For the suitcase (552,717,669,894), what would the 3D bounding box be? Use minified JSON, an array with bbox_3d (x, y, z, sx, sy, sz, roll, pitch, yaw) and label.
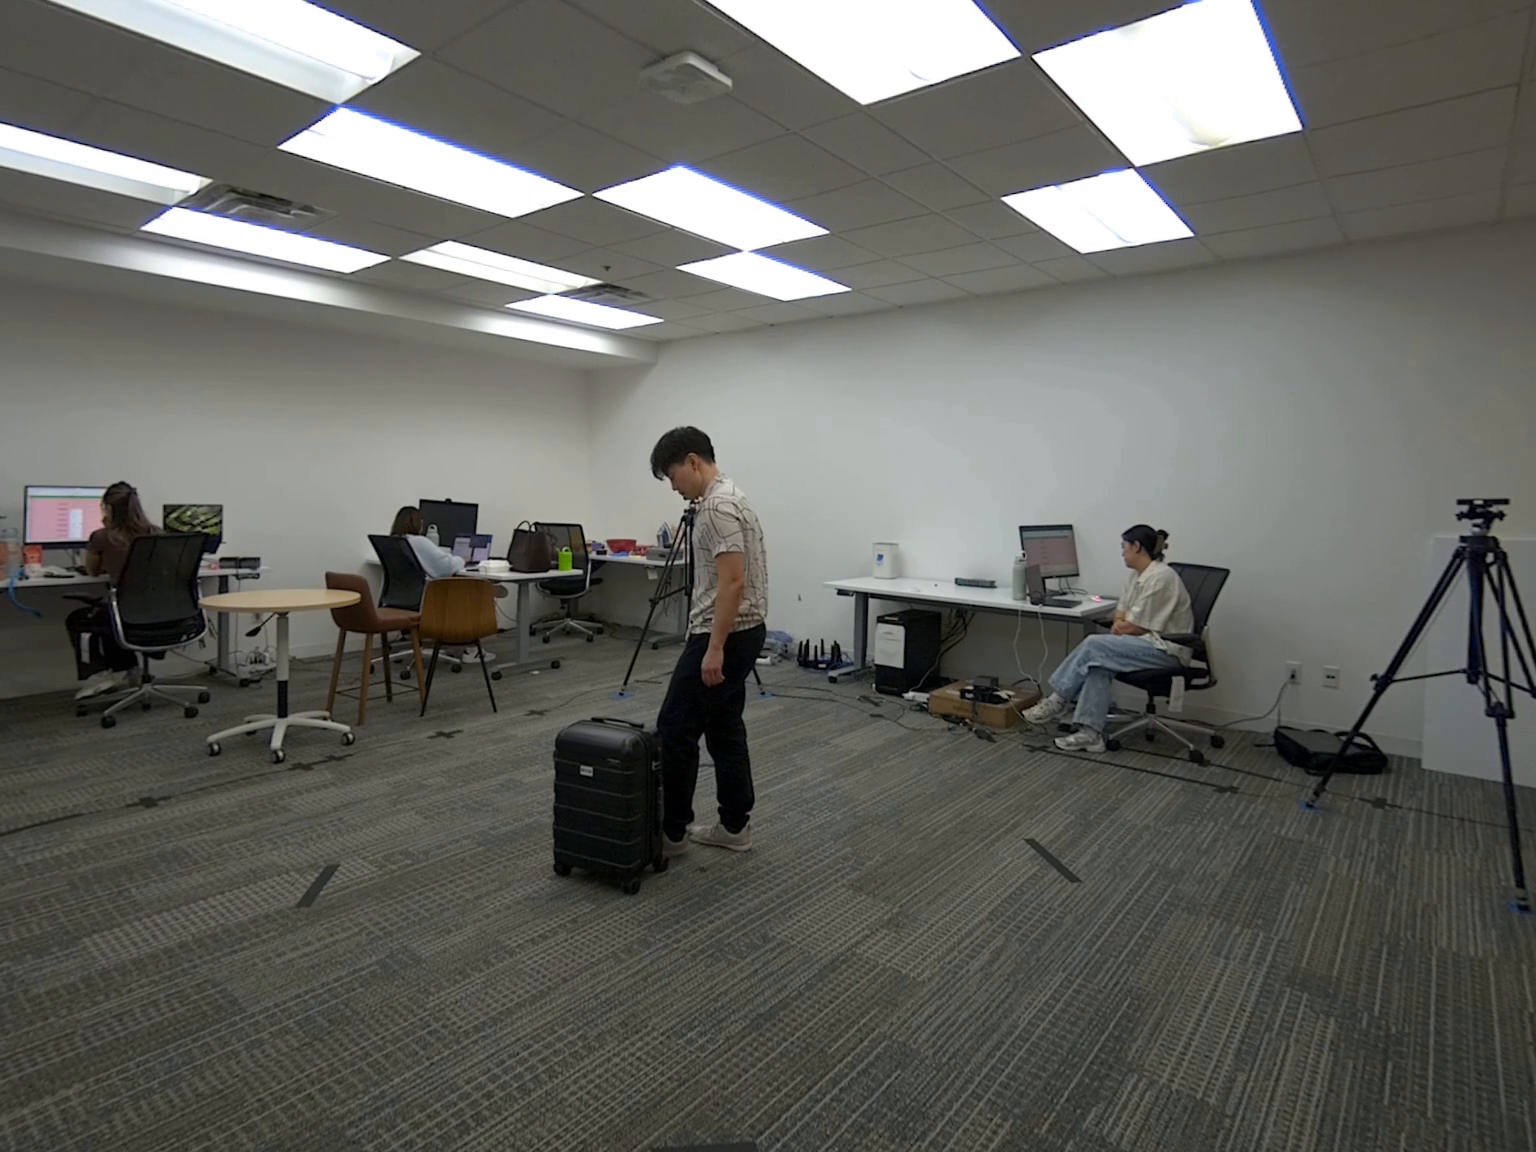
[{"bbox_3d":[-0.577,0.791,3.039,0.385,0.547,0.243,3,4,25],"label":"suitcase"}]
